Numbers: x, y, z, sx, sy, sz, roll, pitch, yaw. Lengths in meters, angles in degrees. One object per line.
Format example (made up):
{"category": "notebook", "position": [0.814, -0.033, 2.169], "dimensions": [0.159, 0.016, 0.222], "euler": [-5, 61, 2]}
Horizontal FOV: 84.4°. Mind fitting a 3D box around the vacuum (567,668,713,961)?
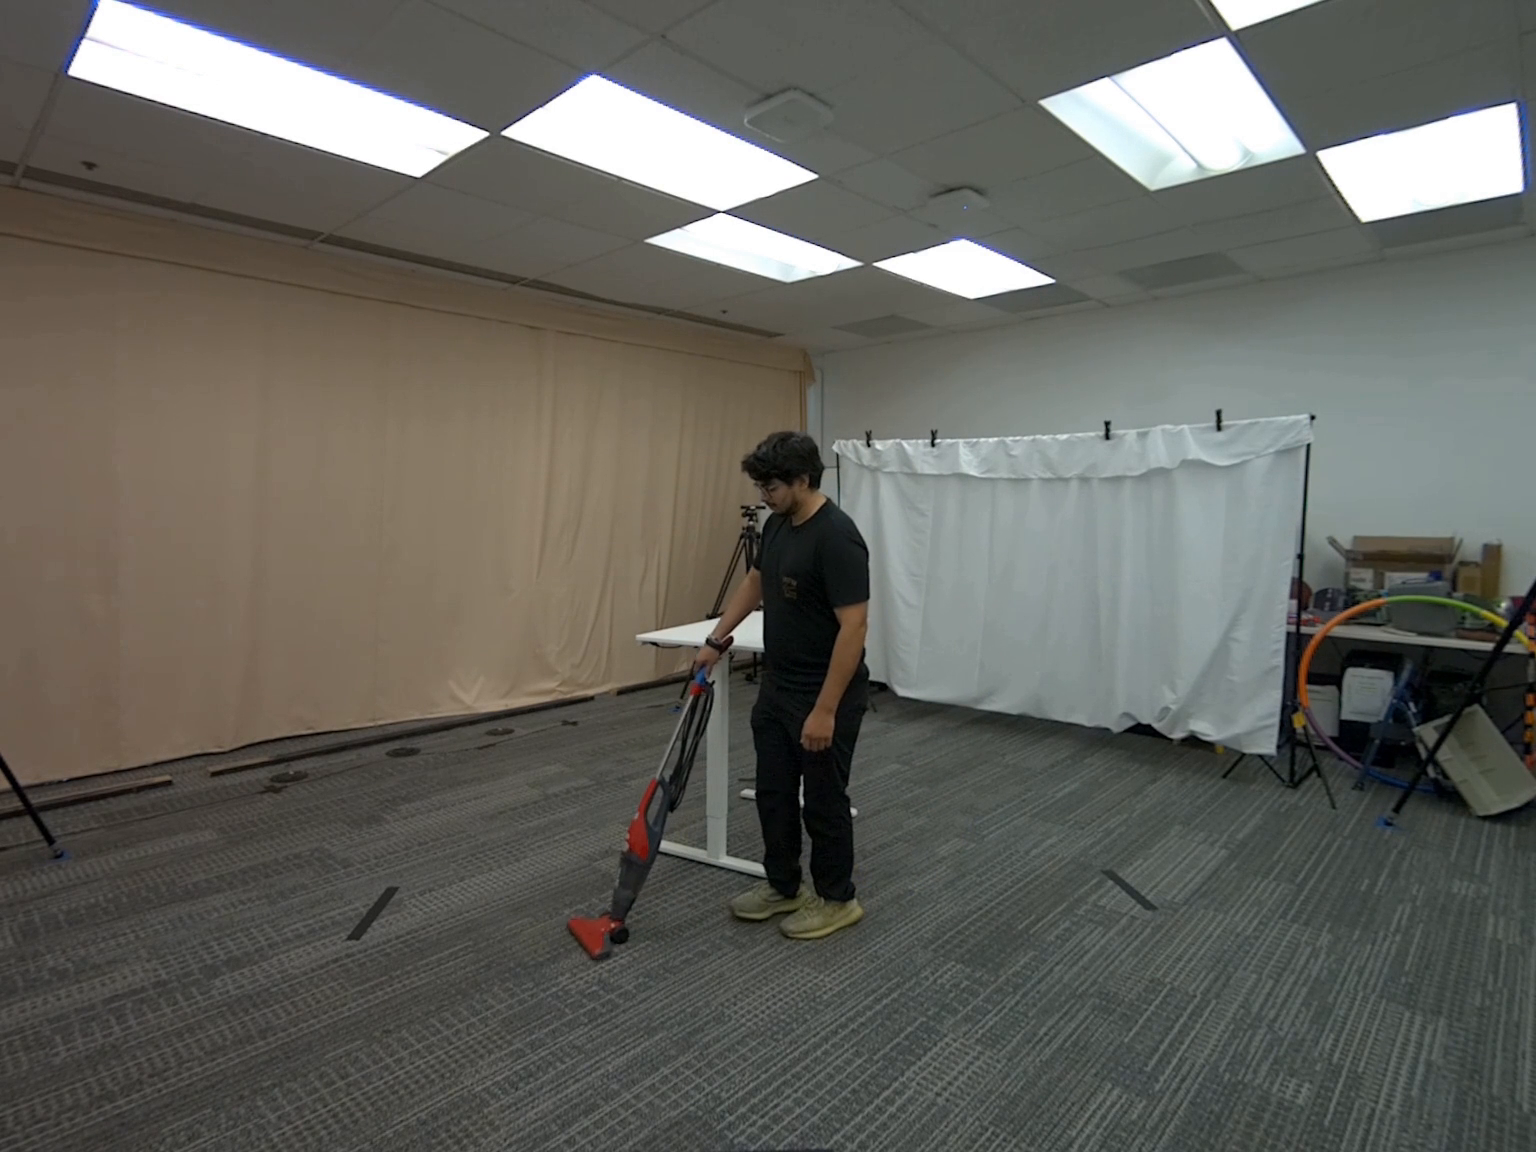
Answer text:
{"category": "vacuum", "position": [-0.349, 0.702, 2.808], "dimensions": [0.139, 1.051, 0.261], "euler": [31, -14, -35]}
